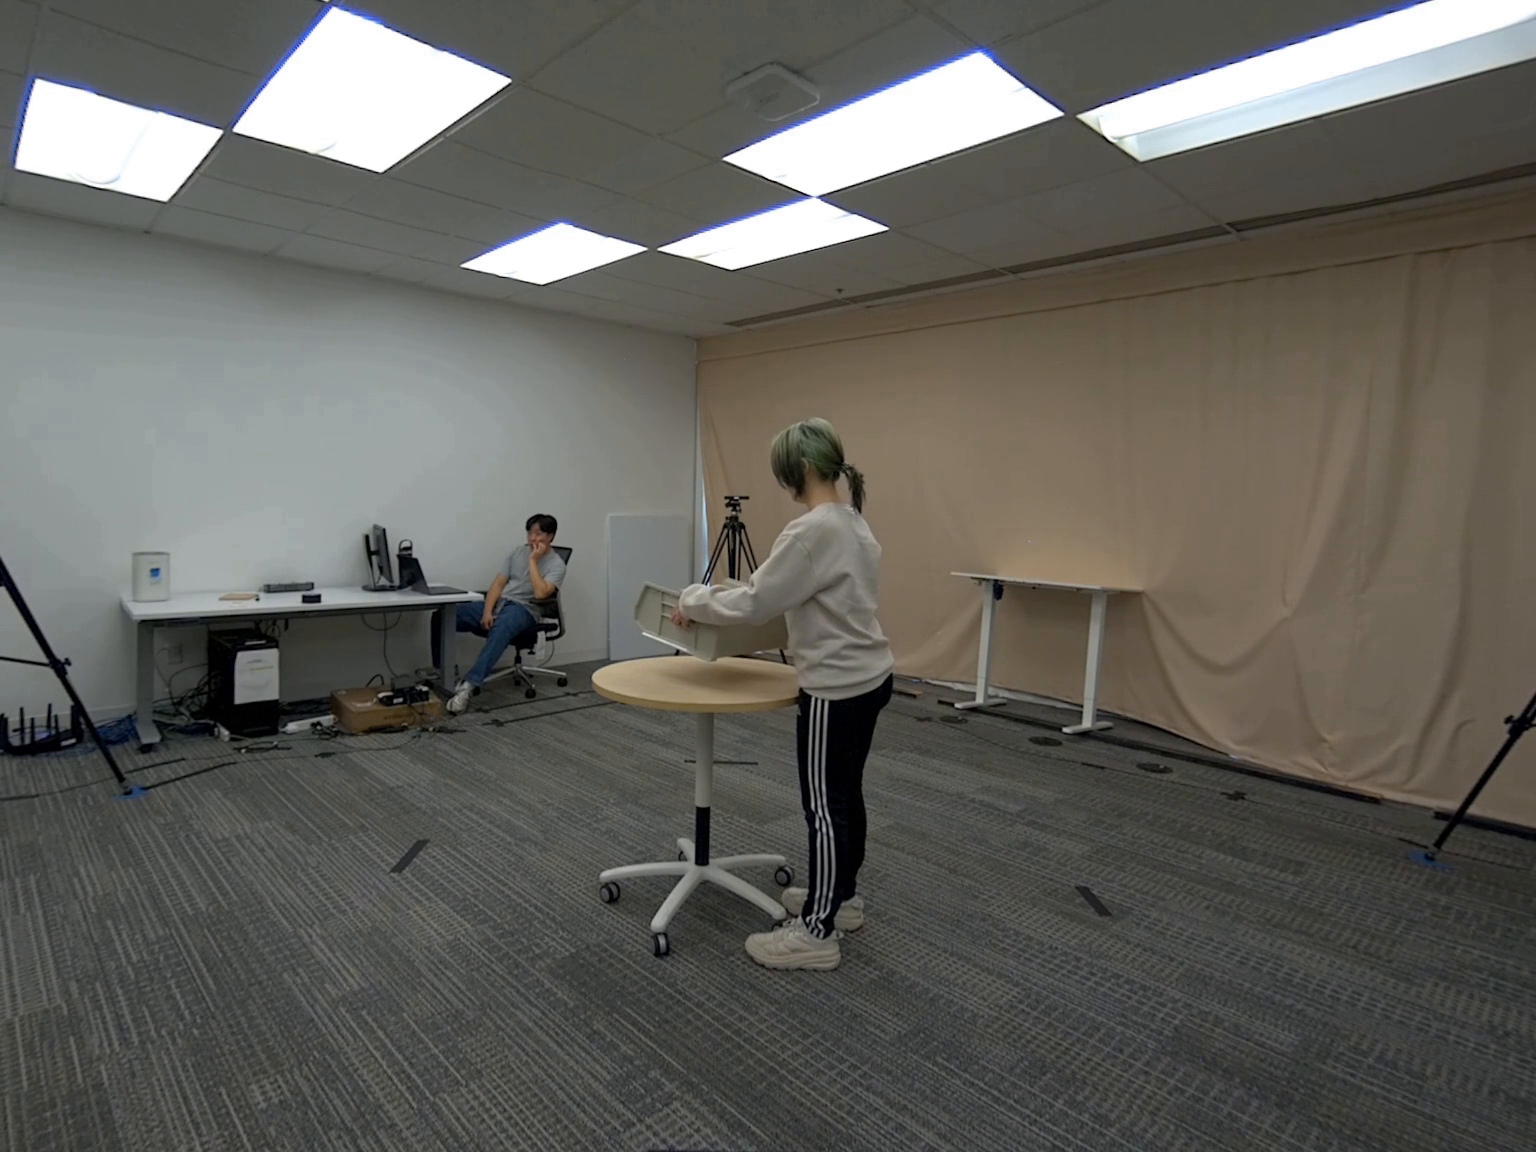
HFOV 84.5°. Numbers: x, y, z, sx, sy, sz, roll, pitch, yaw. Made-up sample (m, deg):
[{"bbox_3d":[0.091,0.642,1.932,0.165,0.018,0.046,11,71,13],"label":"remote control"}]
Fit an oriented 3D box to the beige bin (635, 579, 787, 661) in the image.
[{"bbox_3d":[-0.178,0.132,2.854,0.388,0.188,0.412,17,12,39],"label":"beige bin"}]
